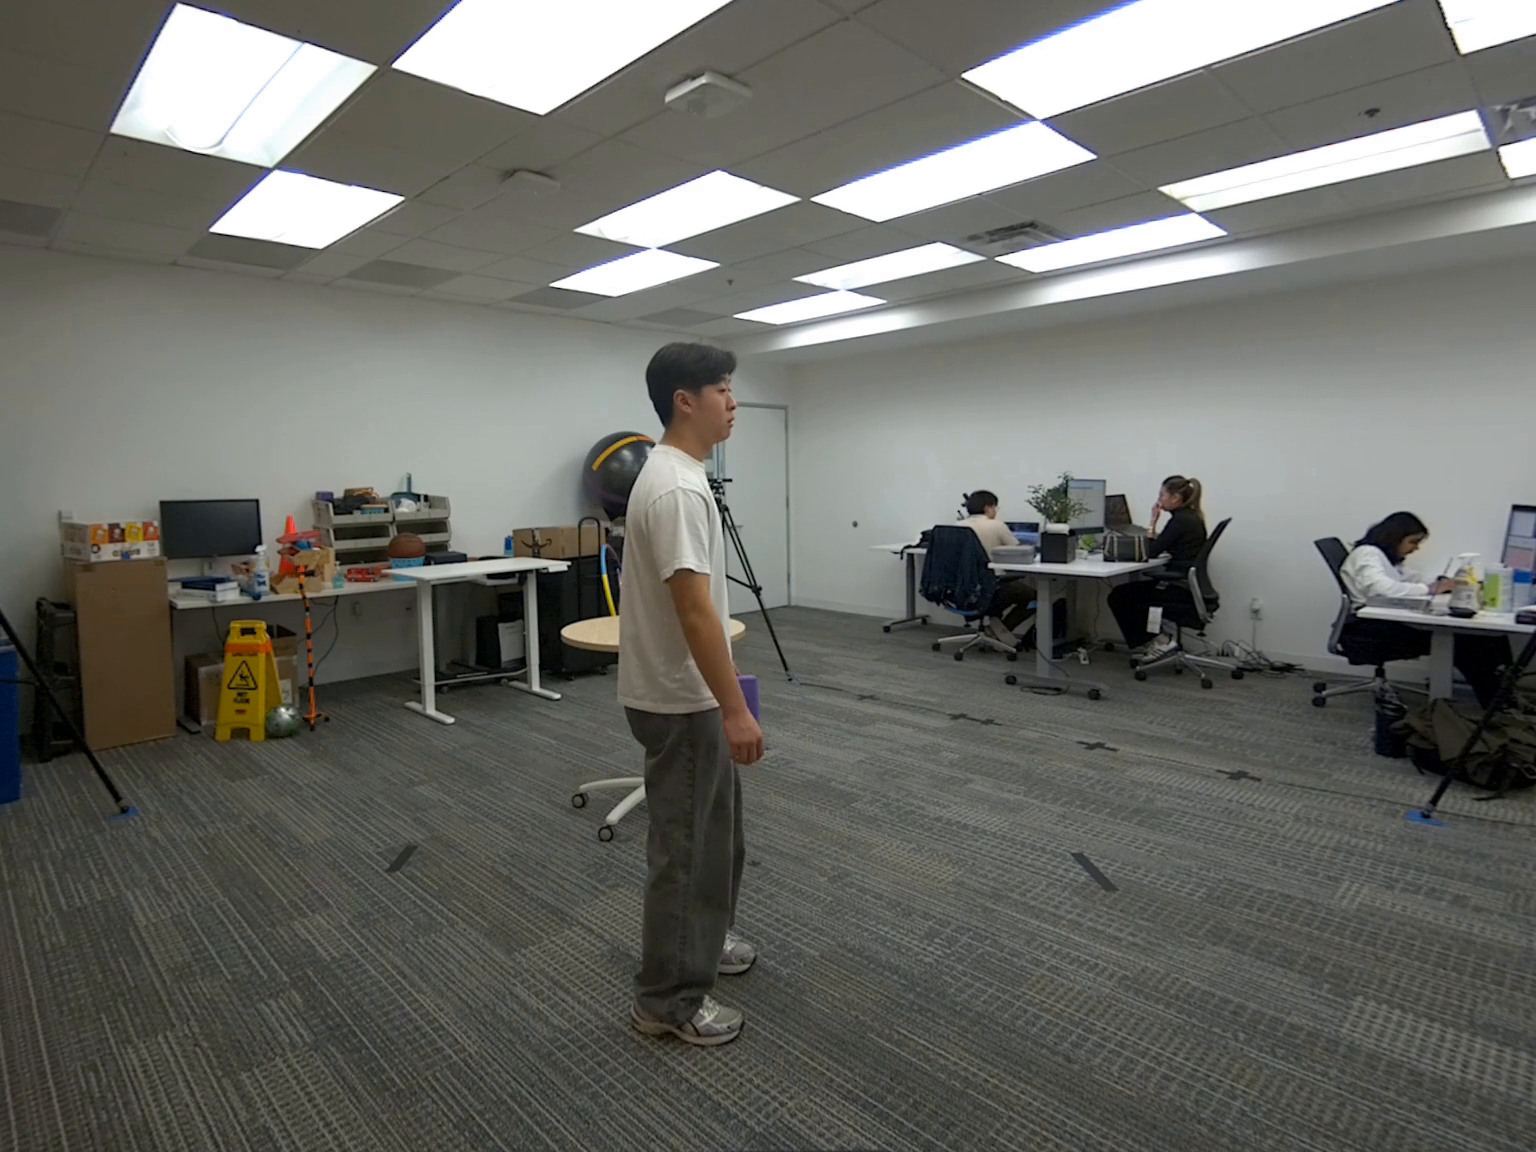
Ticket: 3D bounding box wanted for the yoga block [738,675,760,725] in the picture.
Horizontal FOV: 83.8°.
[{"bbox_3d":[-0.097,0.425,2.550,0.149,0.229,0.076,-1,1,-1],"label":"yoga block"}]
